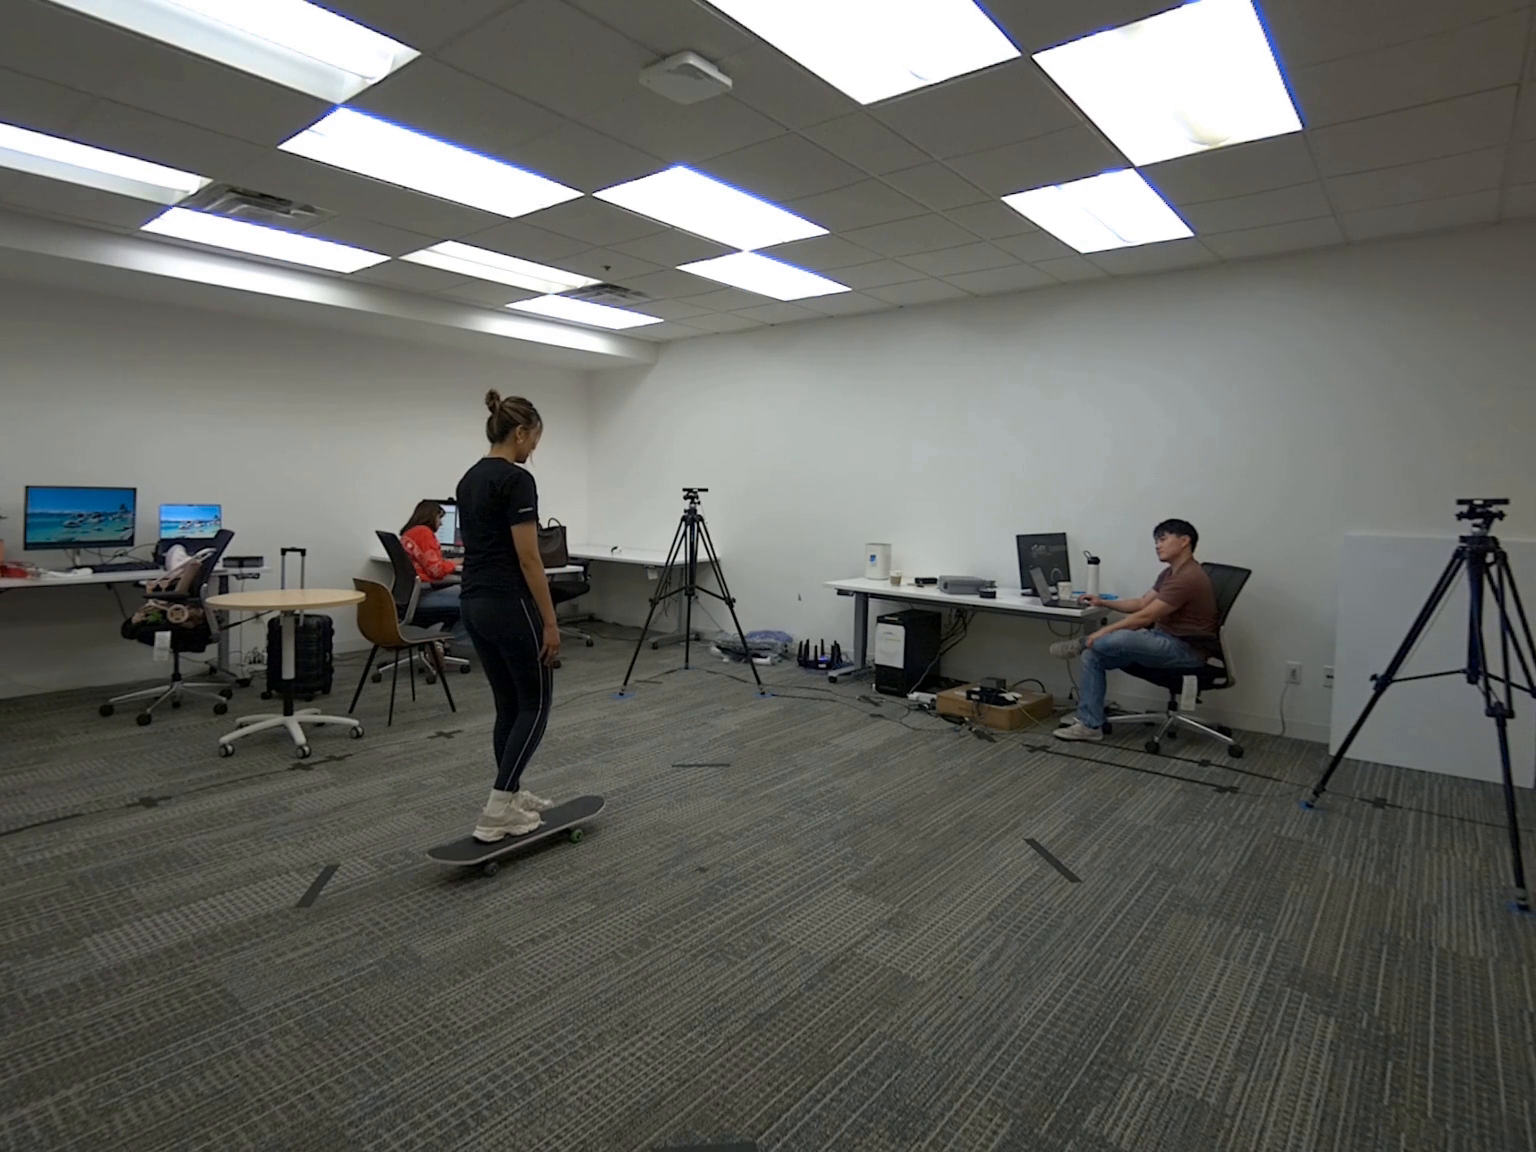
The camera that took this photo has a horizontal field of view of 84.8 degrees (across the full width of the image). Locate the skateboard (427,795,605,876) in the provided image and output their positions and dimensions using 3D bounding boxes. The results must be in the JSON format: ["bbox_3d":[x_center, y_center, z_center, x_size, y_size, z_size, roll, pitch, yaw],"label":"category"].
[{"bbox_3d":[-0.942,0.996,3.232,0.200,0.110,0.763,3,6,37],"label":"skateboard"}]
